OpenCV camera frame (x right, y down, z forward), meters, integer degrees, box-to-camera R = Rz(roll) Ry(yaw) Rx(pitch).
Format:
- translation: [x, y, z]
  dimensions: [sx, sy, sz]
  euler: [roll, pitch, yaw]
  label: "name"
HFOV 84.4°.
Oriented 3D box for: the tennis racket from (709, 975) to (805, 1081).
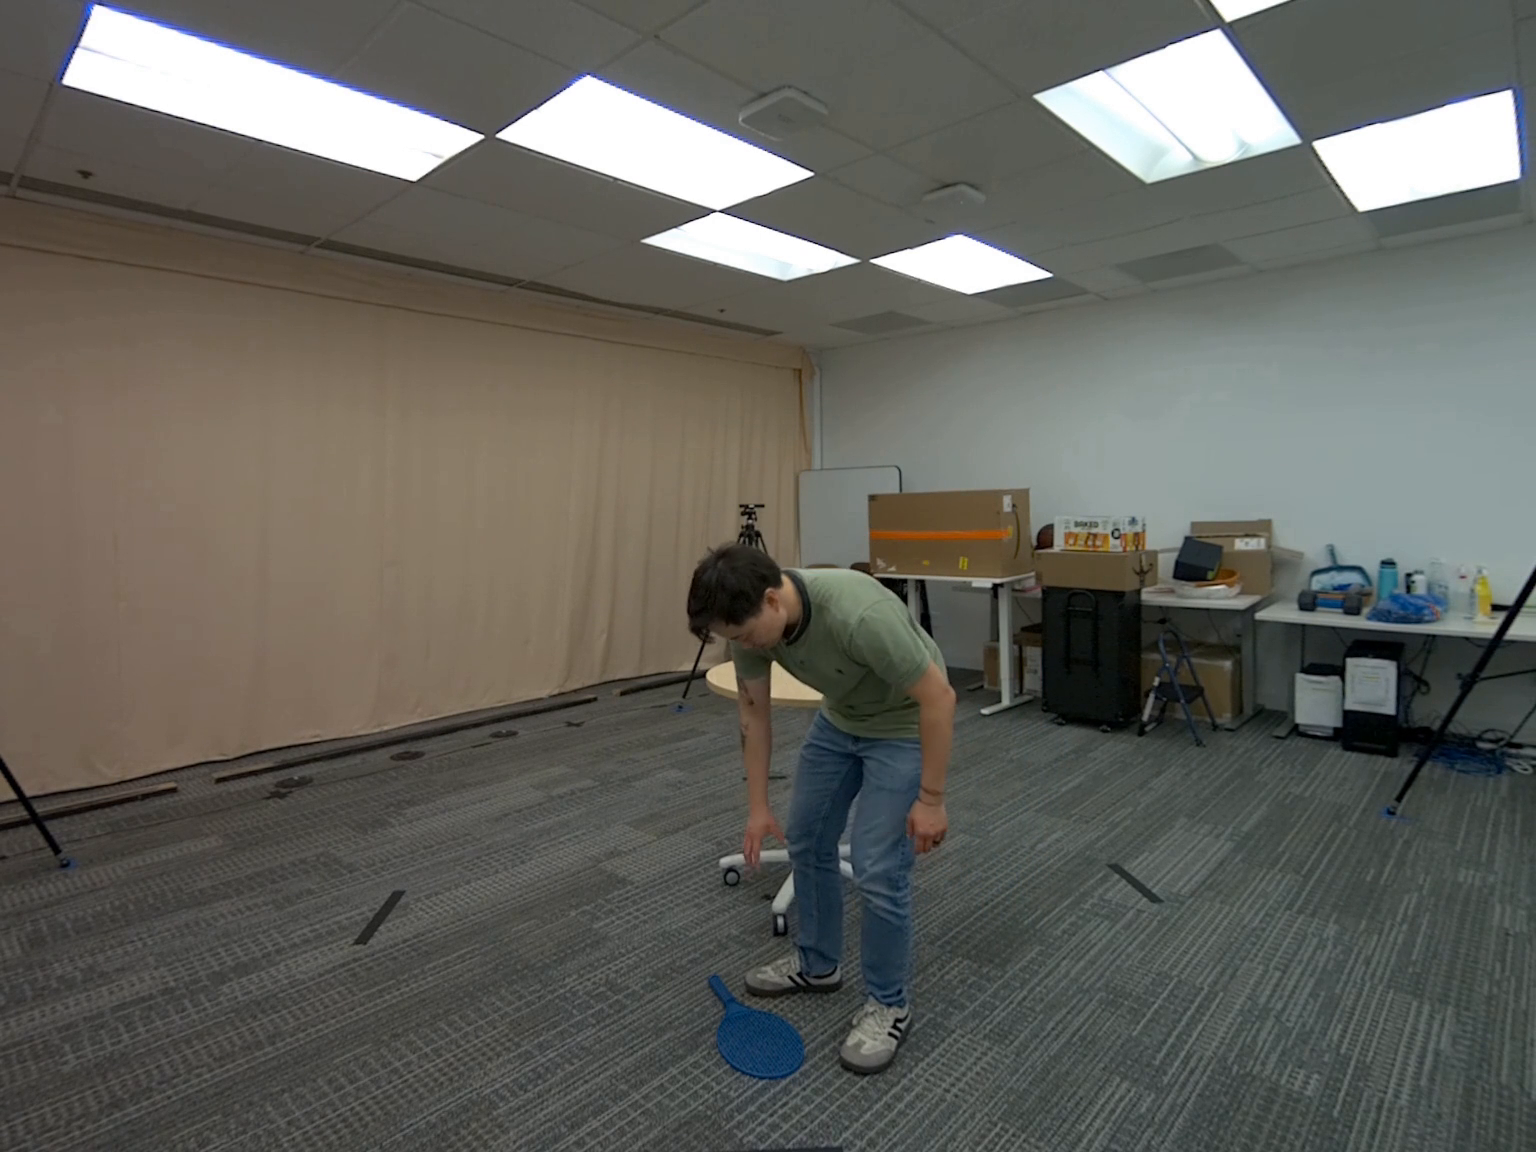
- translation: [-0.058, 1.190, 2.244]
  dimensions: [0.208, 0.031, 0.445]
  euler: [-4, 7, -27]
  label: "tennis racket"
